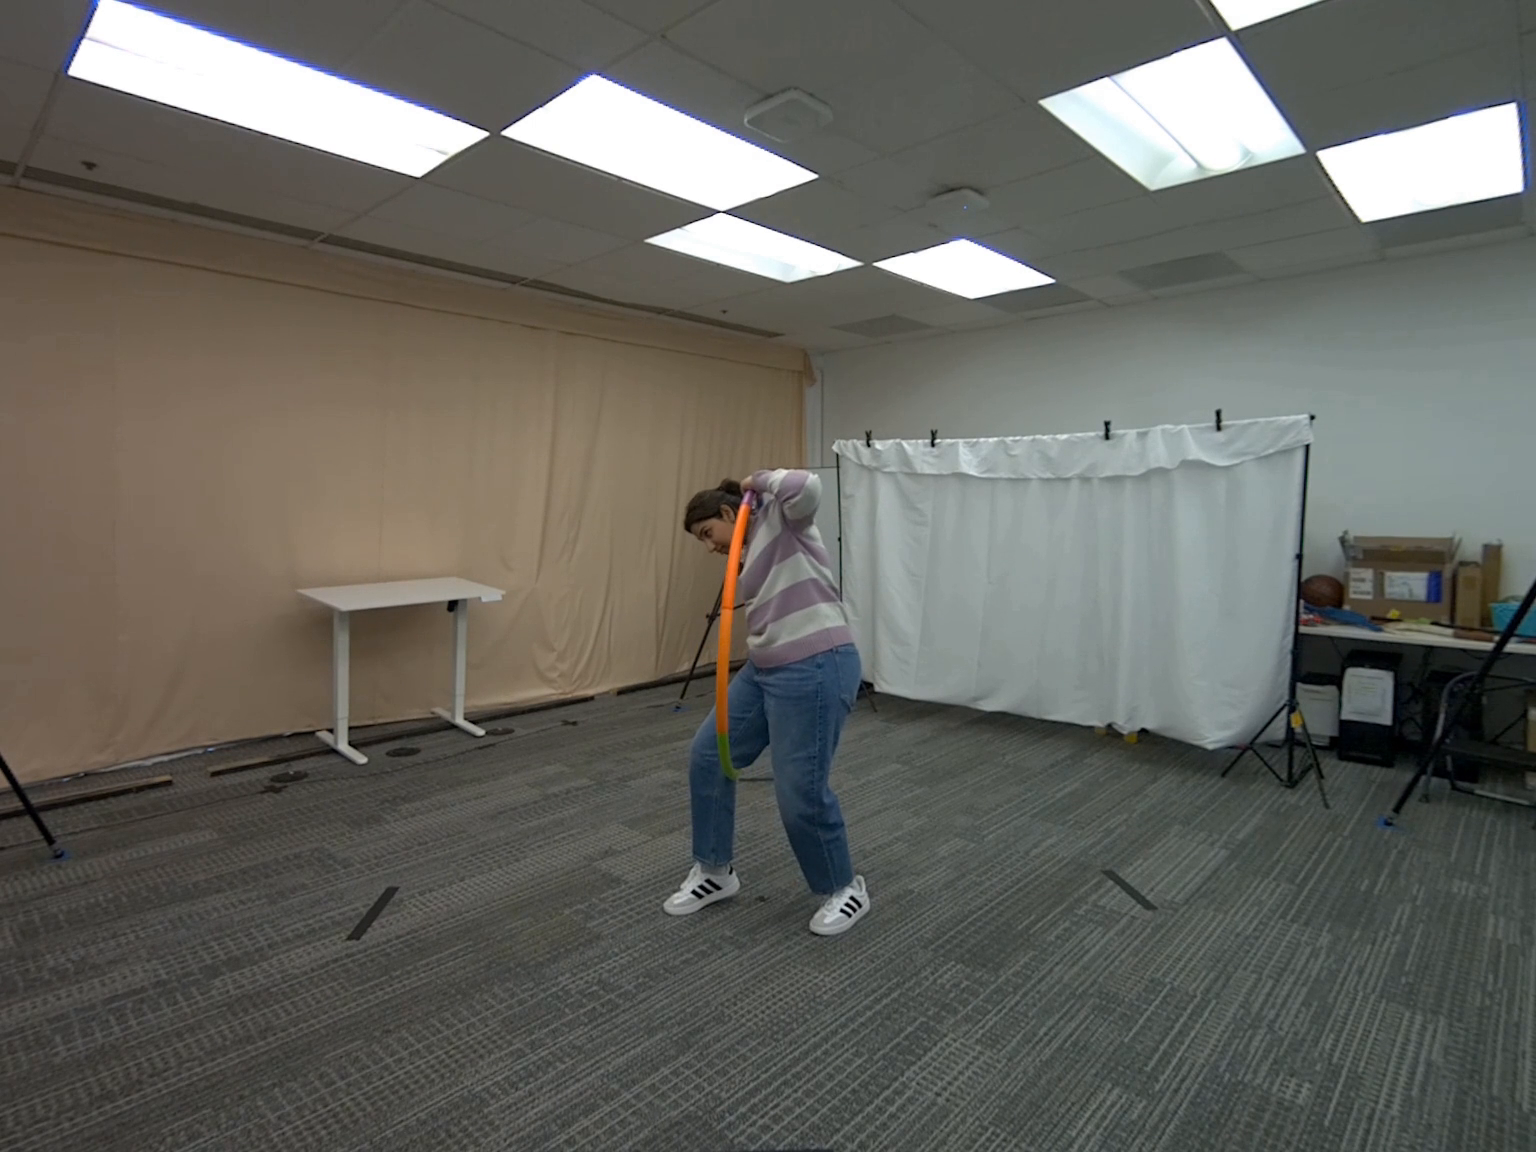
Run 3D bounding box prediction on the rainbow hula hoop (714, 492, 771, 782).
[{"bbox_3d":[-0.077,0.182,2.884,0.052,0.983,0.979,3,4,6],"label":"rainbow hula hoop"}]
